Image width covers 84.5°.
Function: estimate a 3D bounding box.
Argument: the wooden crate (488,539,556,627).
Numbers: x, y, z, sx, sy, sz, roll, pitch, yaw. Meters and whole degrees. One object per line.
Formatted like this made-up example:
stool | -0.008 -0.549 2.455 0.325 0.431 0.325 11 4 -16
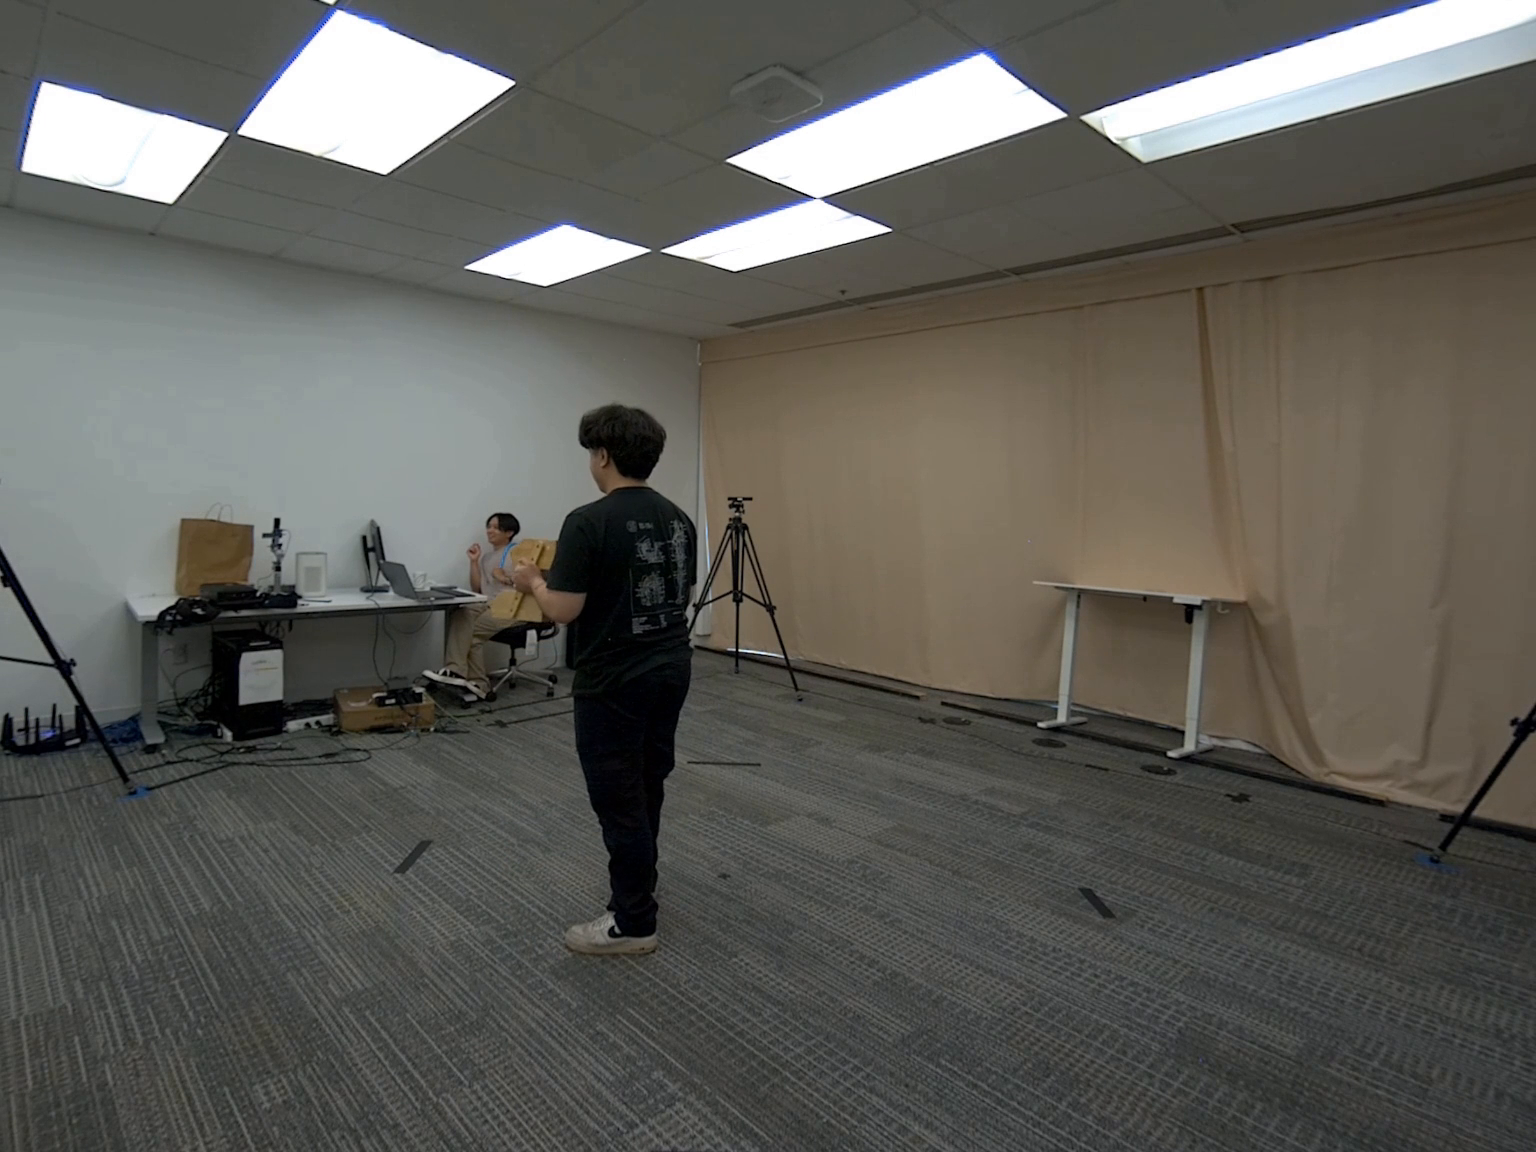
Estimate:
wooden crate | -0.722 0.010 2.821 0.309 0.273 0.317 3 2 32
